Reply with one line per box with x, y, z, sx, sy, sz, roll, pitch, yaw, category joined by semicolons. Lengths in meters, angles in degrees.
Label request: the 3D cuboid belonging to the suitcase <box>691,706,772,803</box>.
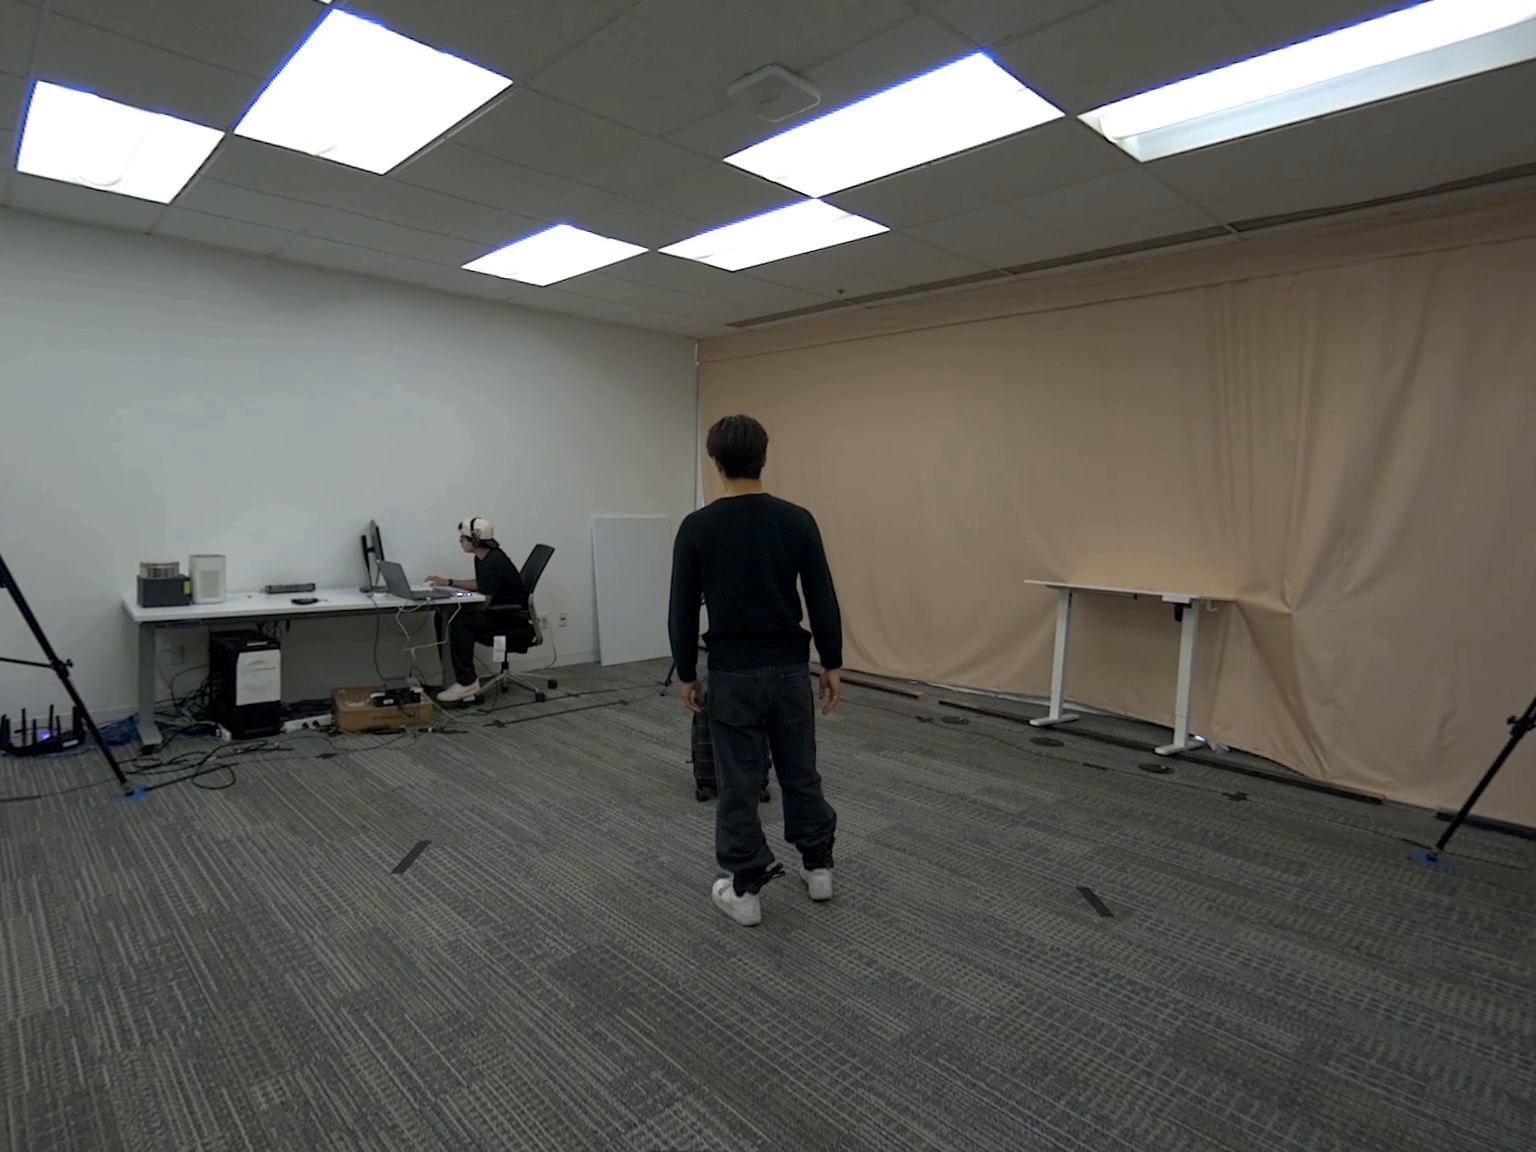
-0.180;0.754;4.002;0.375;0.548;0.249;1;2;-2;suitcase
